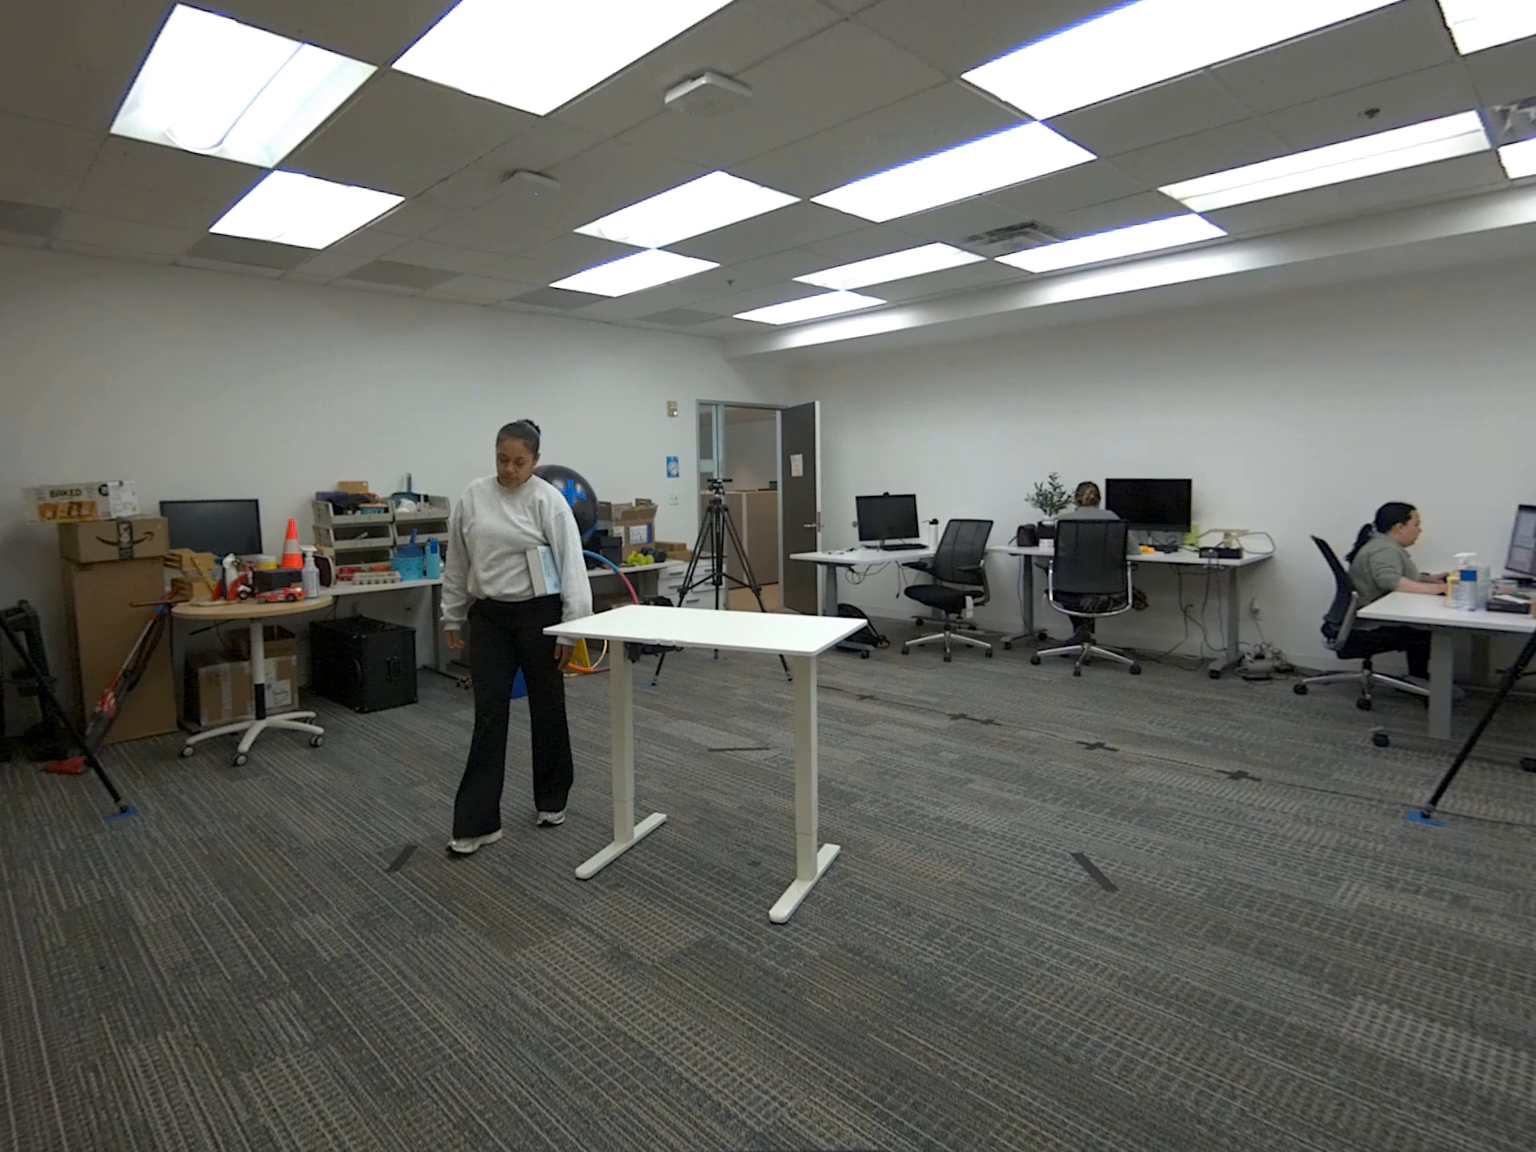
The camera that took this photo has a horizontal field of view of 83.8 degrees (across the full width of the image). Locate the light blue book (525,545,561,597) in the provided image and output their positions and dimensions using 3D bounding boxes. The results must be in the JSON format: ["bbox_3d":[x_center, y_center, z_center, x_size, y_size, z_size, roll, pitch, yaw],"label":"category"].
[{"bbox_3d":[-0.861,-0.026,3.375,0.059,0.192,0.258,-14,0,14],"label":"light blue book"}]
